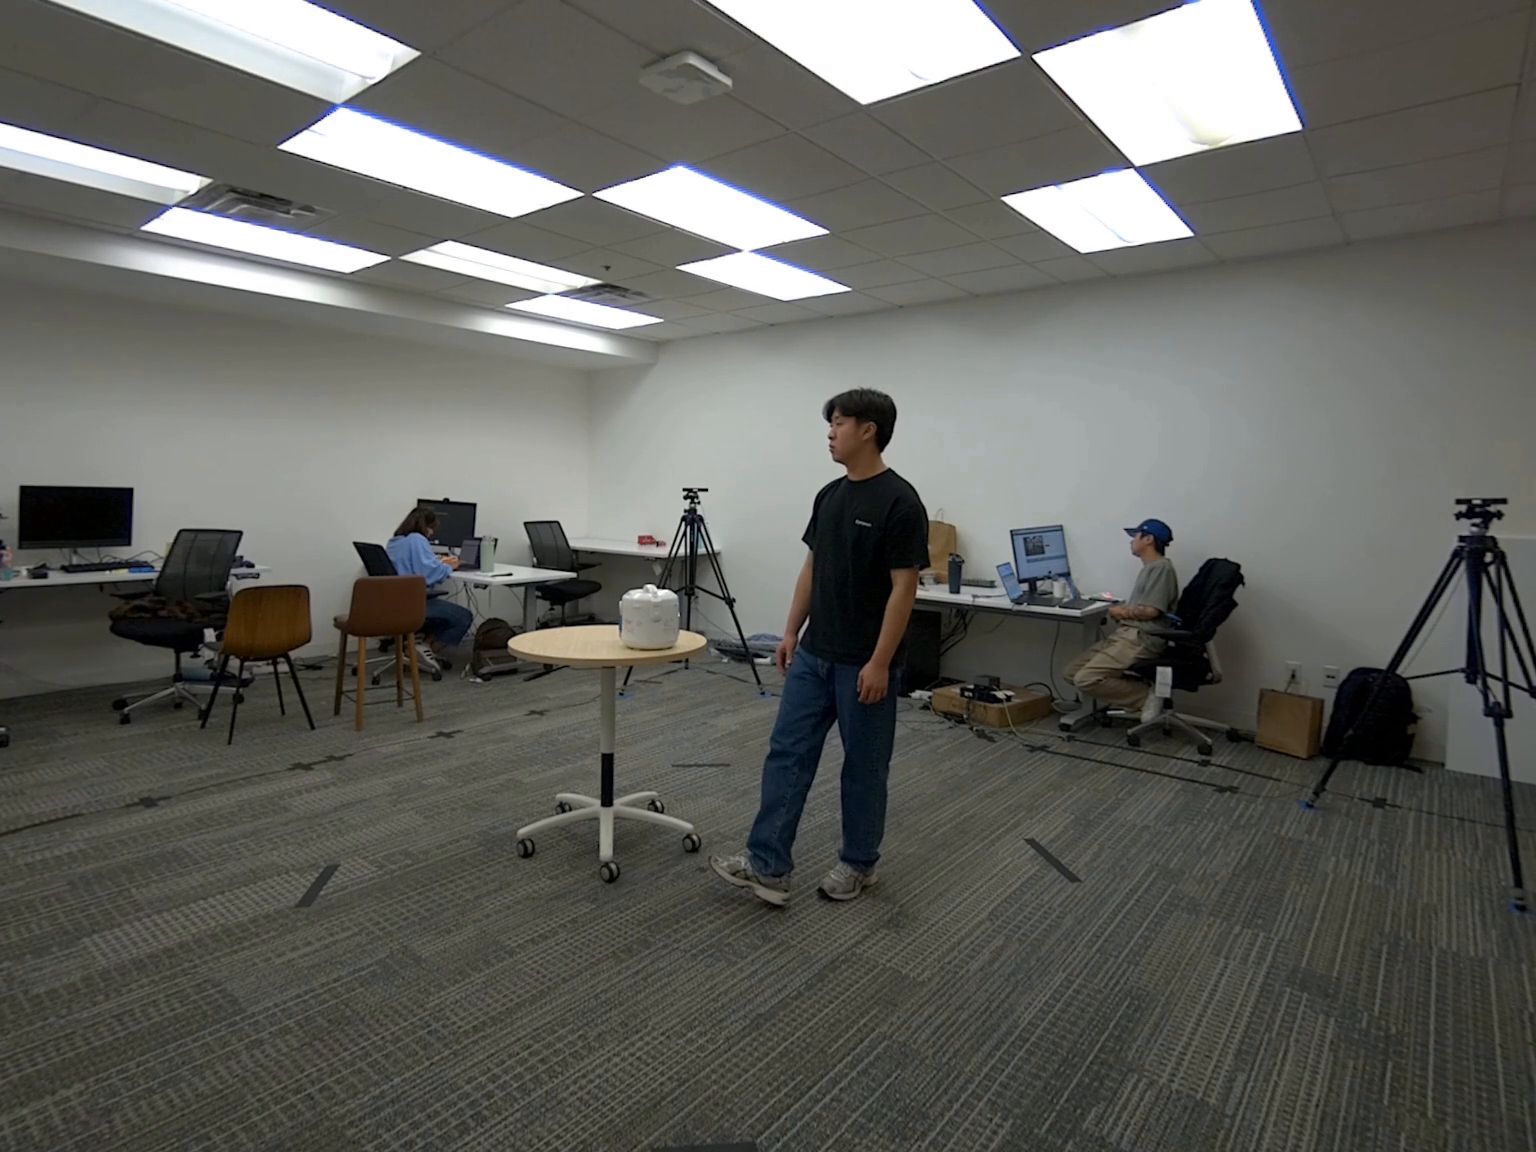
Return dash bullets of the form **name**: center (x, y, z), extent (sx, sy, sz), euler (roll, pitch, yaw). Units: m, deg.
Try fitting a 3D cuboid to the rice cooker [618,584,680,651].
- **rice cooker**: center (-0.454, 0.146, 3.188), extent (0.214, 0.232, 0.225), euler (-1, 5, -18)
